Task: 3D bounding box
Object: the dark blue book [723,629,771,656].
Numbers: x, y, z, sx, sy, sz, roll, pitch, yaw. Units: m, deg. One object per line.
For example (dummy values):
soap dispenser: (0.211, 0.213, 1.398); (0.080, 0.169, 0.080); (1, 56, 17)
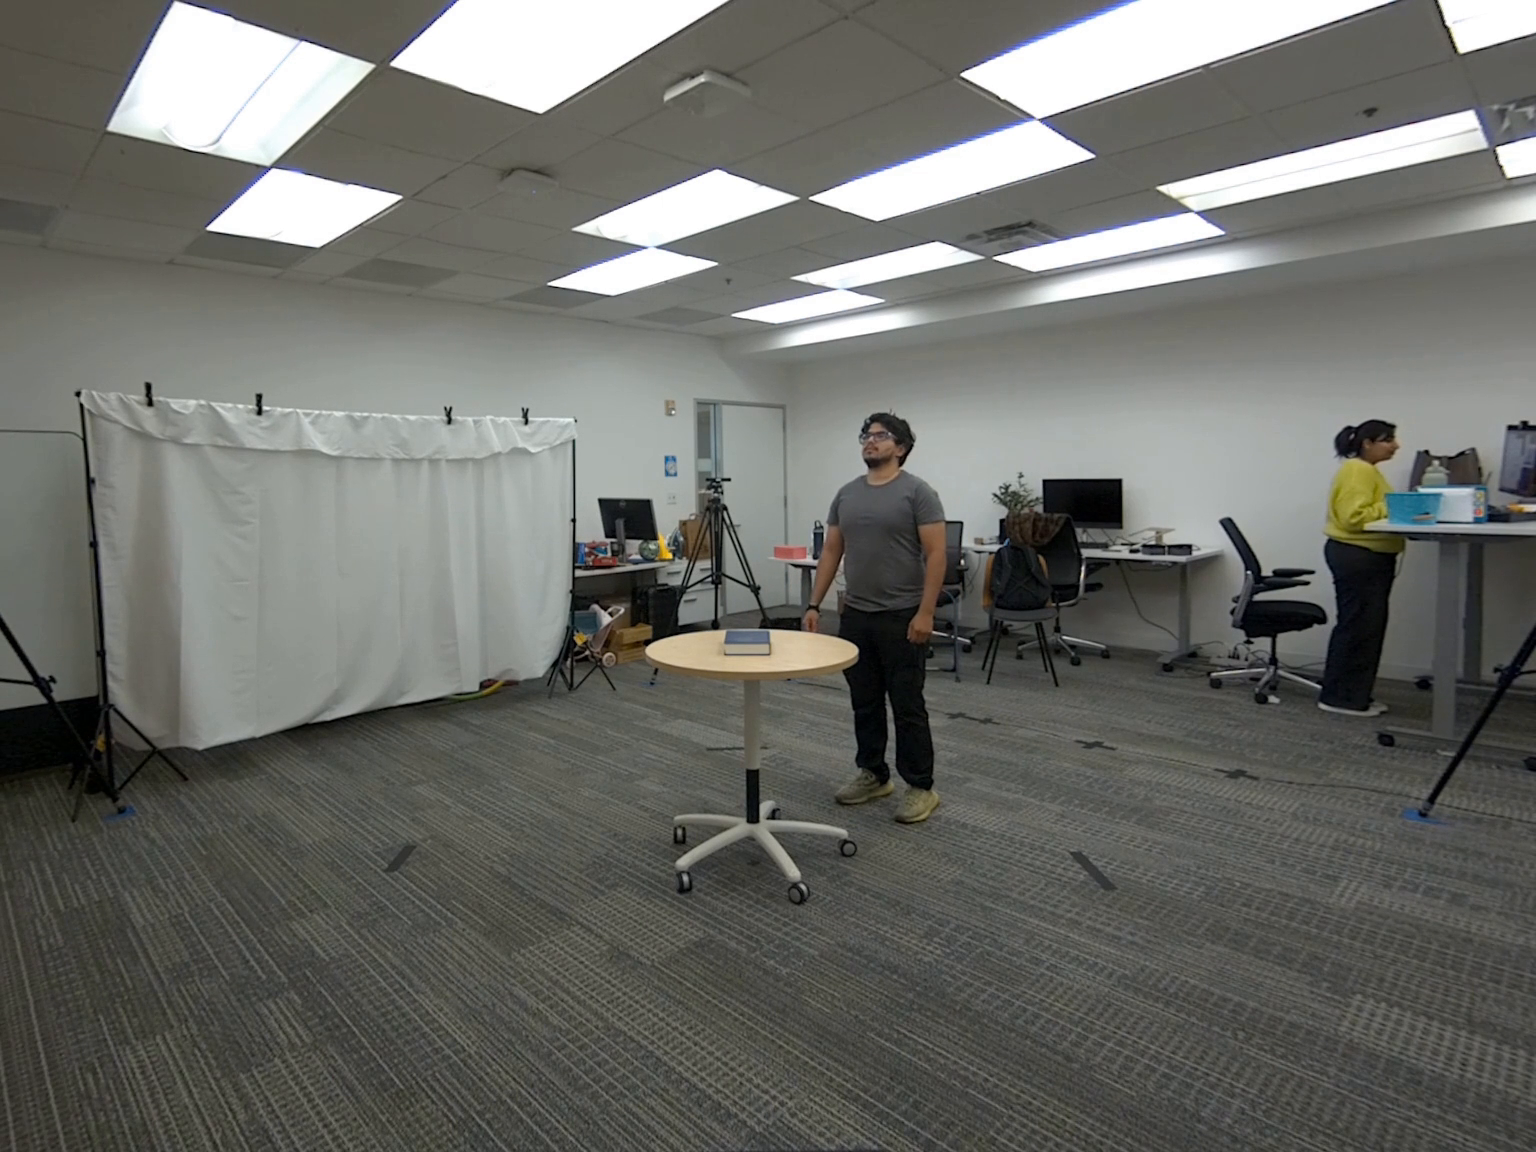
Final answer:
dark blue book: (-0.064, 0.243, 3.079); (0.163, 0.045, 0.246); (-1, 6, 0)
